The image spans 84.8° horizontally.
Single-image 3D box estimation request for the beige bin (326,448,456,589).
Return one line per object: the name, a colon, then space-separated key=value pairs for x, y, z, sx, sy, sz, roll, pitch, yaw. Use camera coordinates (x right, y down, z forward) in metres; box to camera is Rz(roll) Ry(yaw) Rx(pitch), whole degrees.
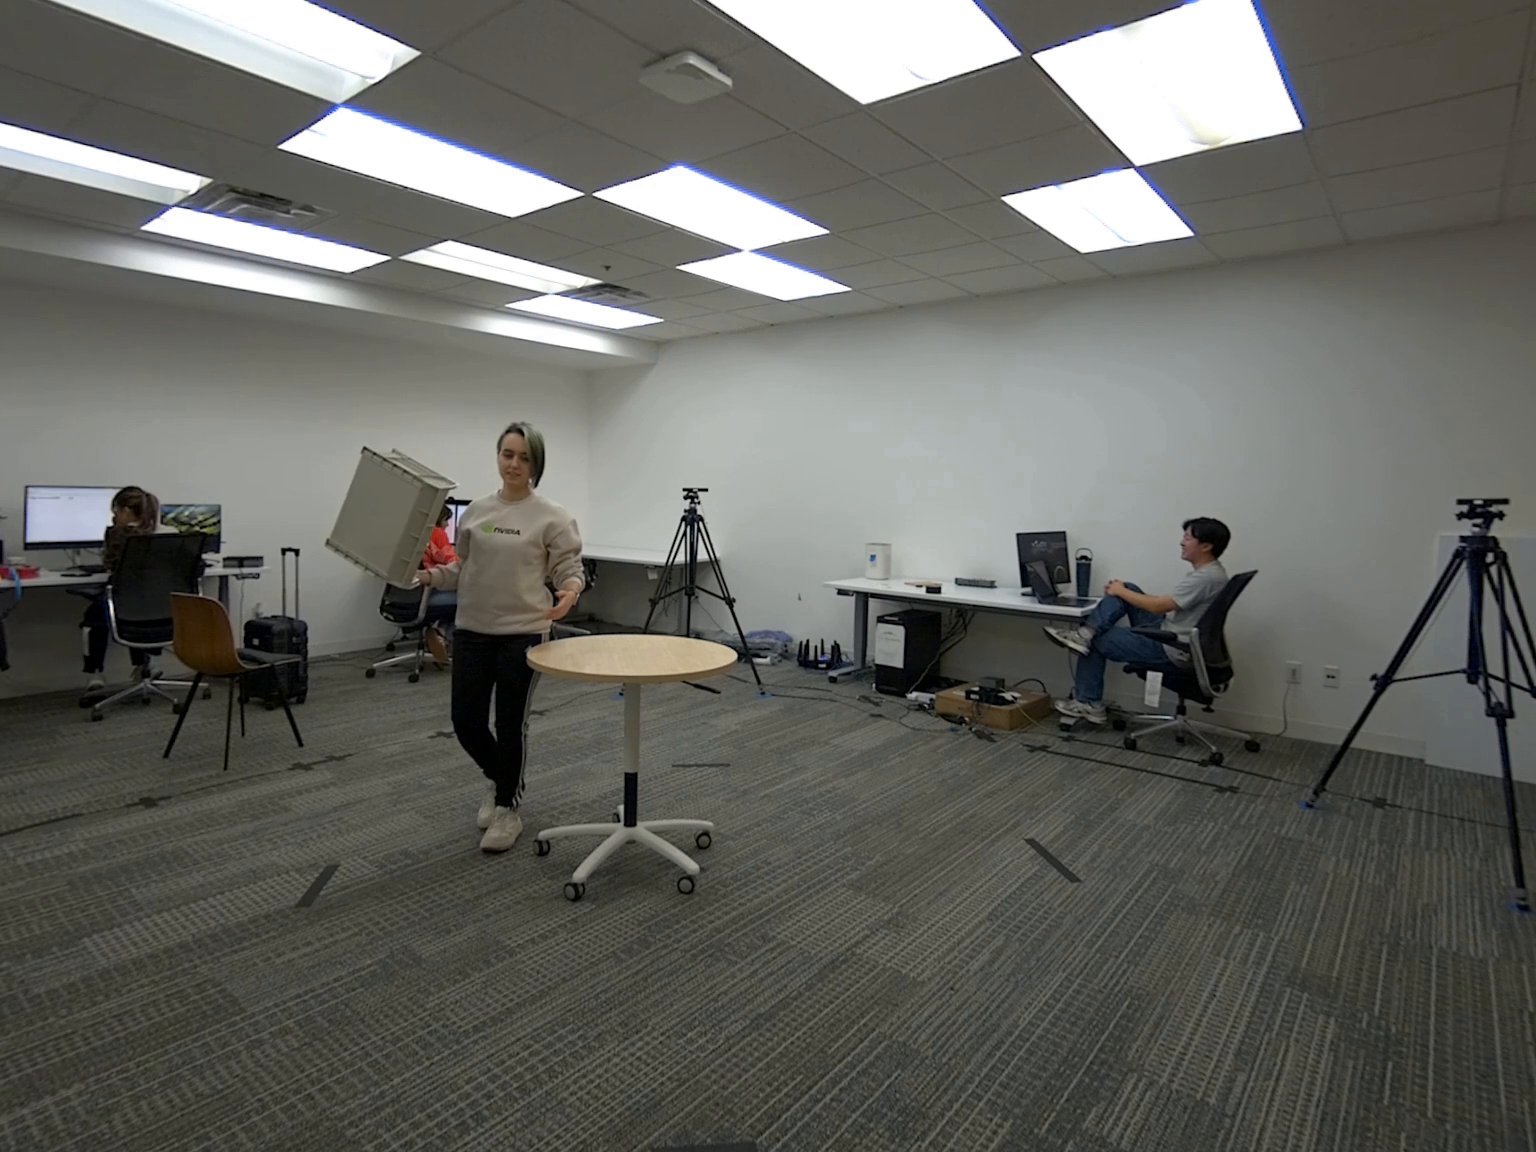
beige bin: x=-1.414 y=-0.218 z=3.181 sx=0.386 sy=0.421 sz=0.185 roll=28 pitch=8 yaw=17
